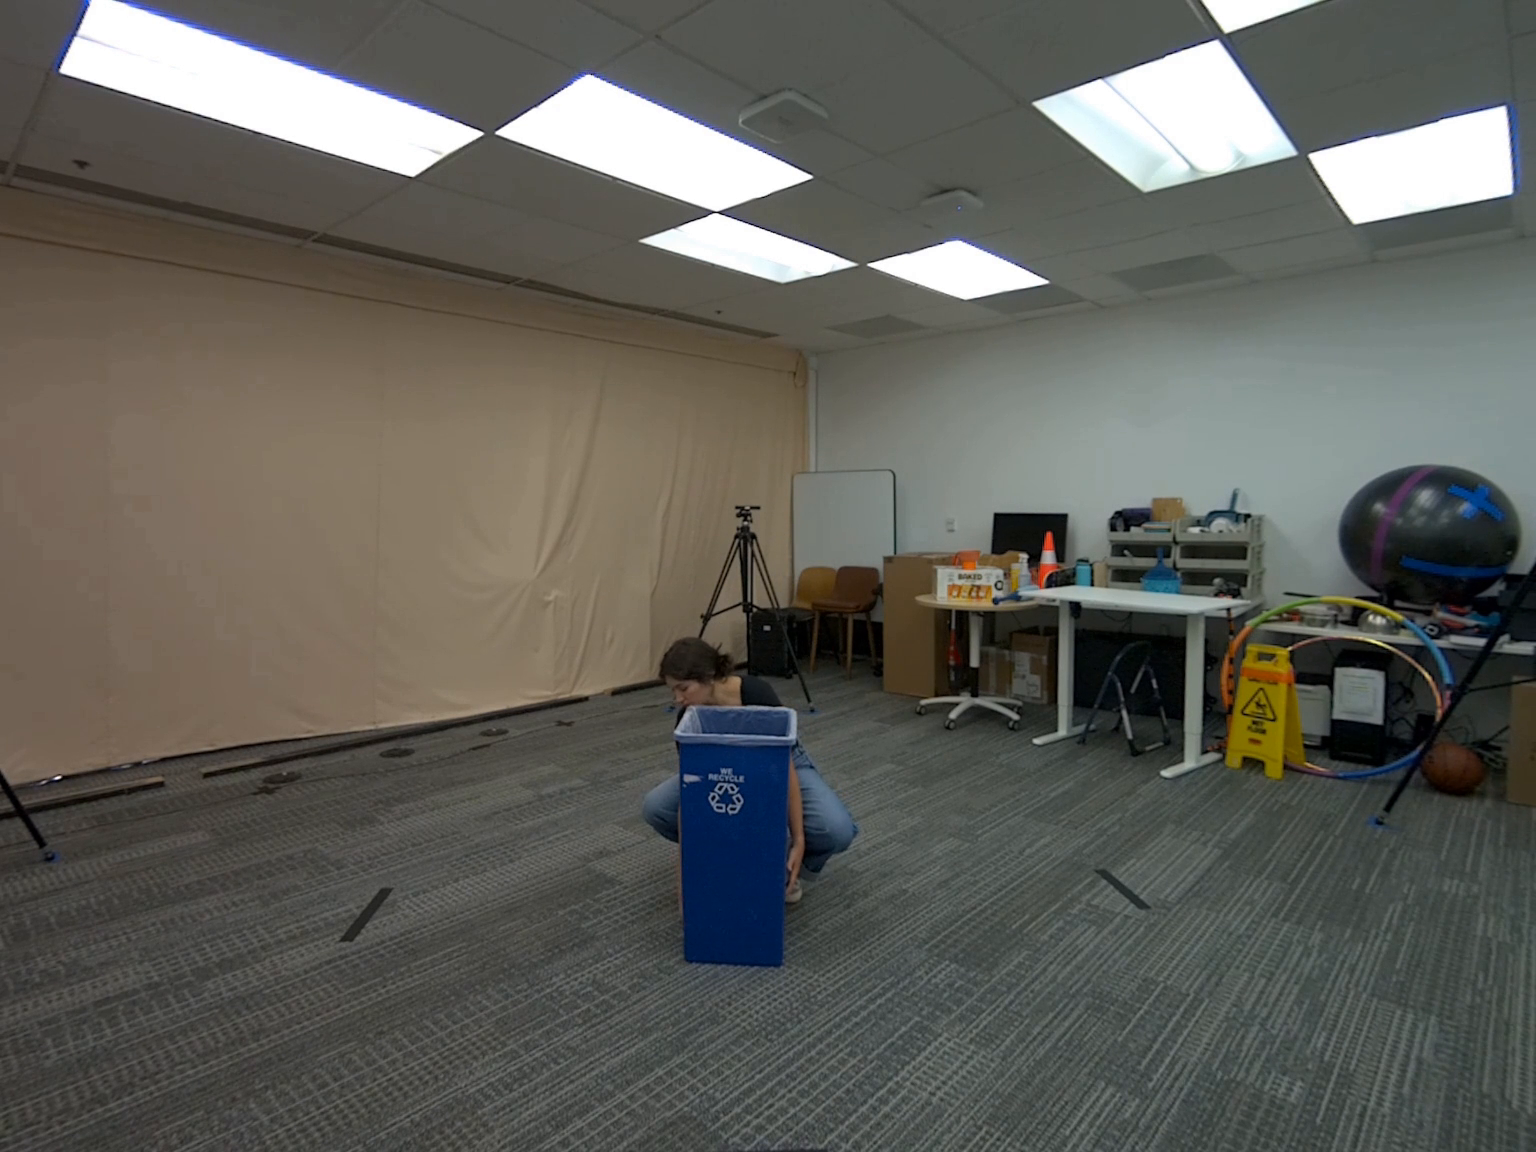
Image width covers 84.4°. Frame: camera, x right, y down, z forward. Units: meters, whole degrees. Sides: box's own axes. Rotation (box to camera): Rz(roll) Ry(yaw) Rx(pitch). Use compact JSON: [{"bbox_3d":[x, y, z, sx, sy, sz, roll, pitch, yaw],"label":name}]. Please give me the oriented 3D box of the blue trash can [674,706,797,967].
[{"bbox_3d":[-0.088,0.808,2.689,0.376,0.712,0.377,0,3,4],"label":"blue trash can"}]
